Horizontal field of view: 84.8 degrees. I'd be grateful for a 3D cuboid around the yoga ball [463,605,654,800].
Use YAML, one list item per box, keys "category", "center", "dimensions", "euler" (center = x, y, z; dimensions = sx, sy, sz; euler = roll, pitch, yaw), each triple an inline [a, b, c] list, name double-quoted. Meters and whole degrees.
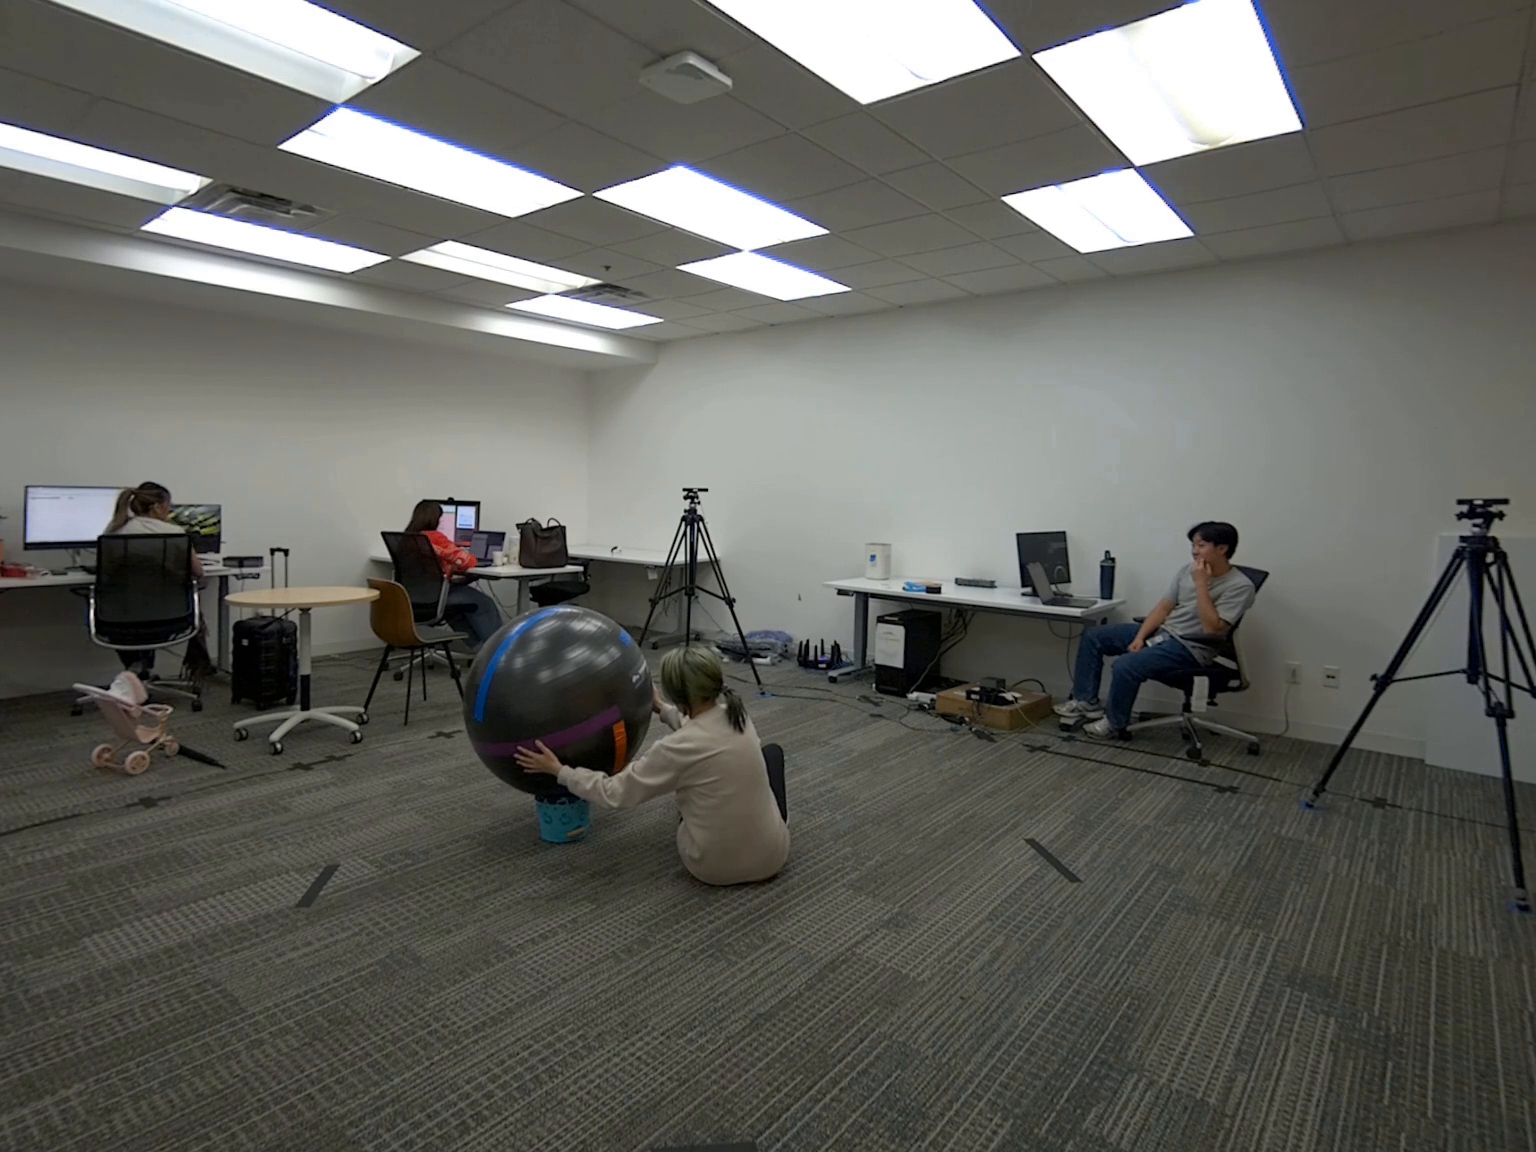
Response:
- category: "yoga ball"
  center: [-0.853, 0.507, 3.437]
  dimensions: [0.757, 0.756, 0.761]
  euler: [1, 4, -2]
